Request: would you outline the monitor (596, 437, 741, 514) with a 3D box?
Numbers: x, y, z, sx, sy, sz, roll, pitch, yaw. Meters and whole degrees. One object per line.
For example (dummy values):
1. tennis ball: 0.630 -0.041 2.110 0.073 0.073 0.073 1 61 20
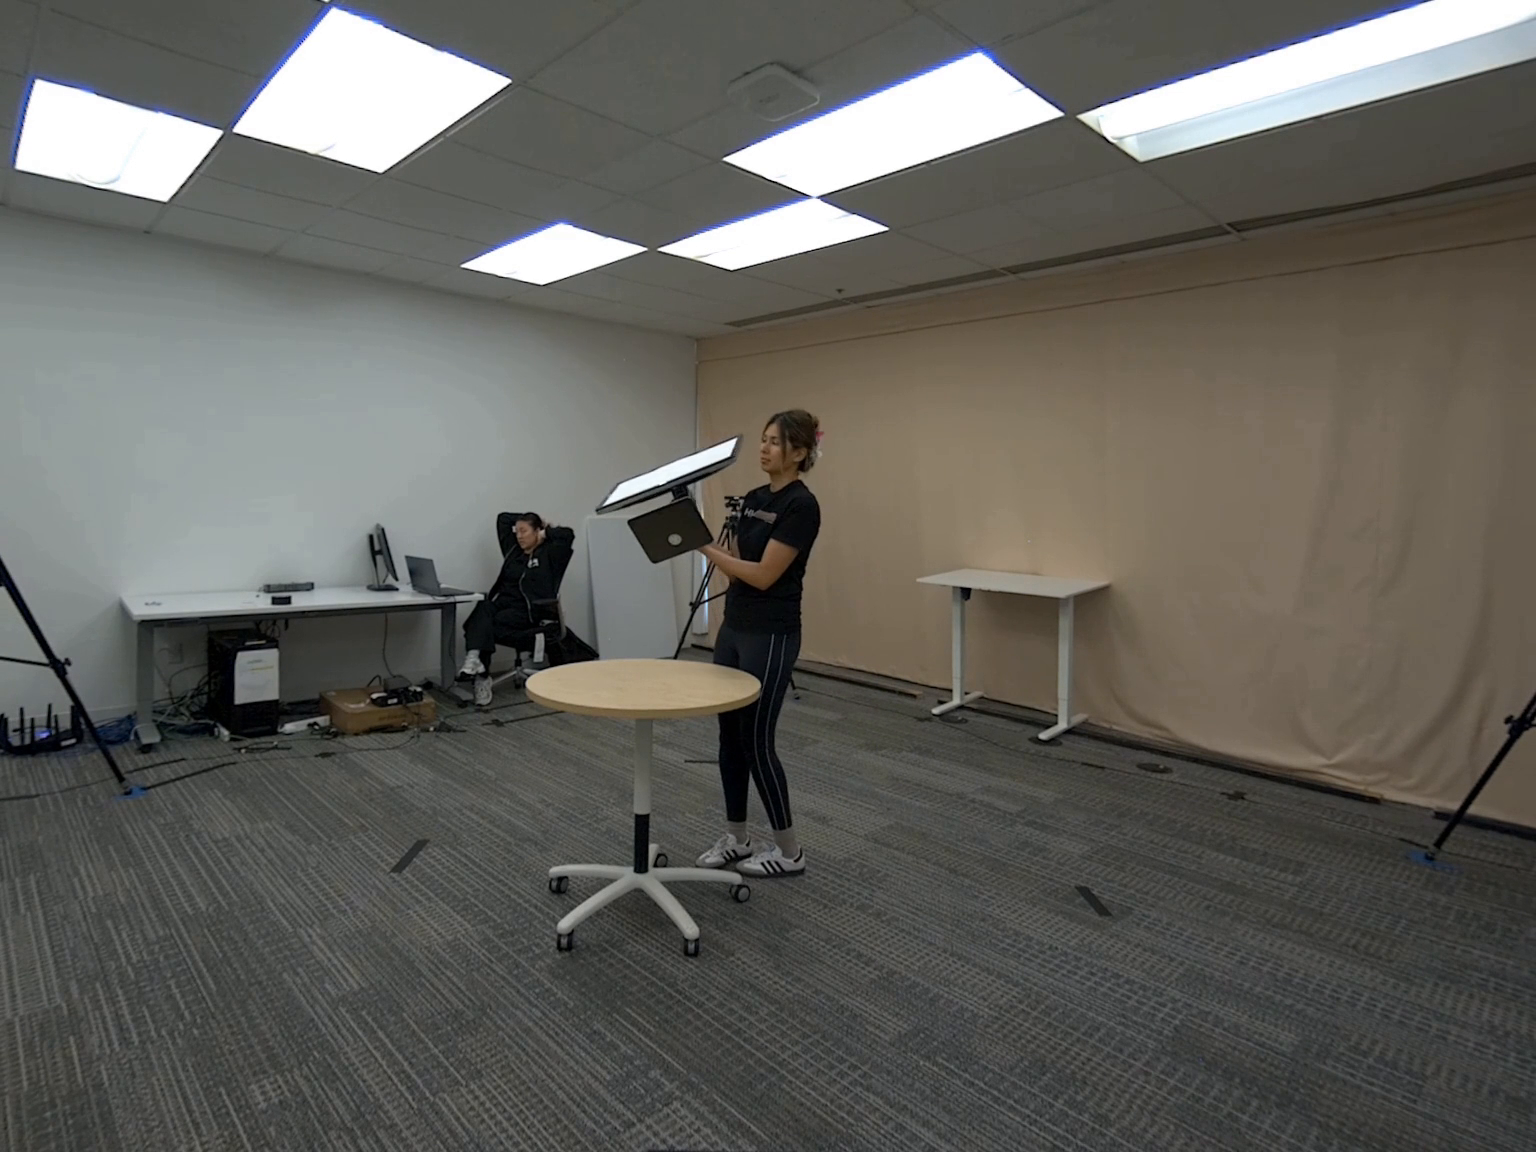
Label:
1. monitor: -0.352 -0.301 3.134 0.542 0.182 0.533 -18 34 12
